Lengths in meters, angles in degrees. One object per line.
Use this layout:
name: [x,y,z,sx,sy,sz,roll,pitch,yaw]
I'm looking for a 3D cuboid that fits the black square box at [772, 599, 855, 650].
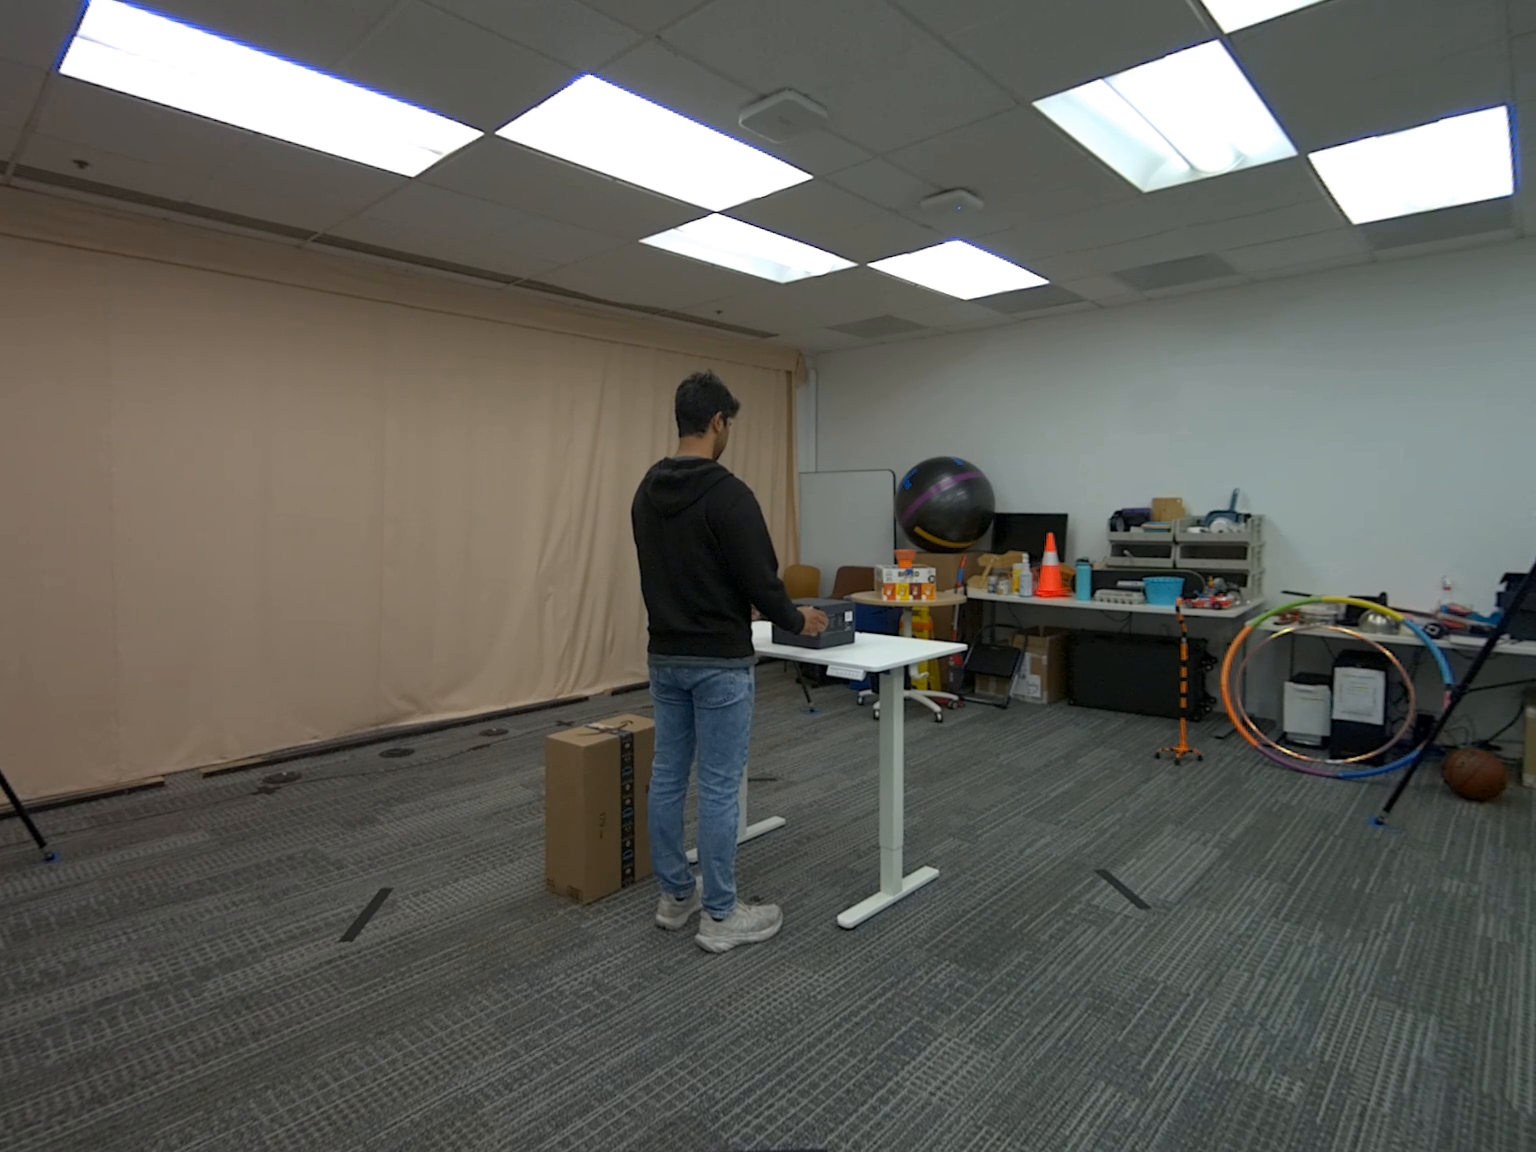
black square box: [0.172,0.172,3.115,0.235,0.155,0.210,4,6,44]
